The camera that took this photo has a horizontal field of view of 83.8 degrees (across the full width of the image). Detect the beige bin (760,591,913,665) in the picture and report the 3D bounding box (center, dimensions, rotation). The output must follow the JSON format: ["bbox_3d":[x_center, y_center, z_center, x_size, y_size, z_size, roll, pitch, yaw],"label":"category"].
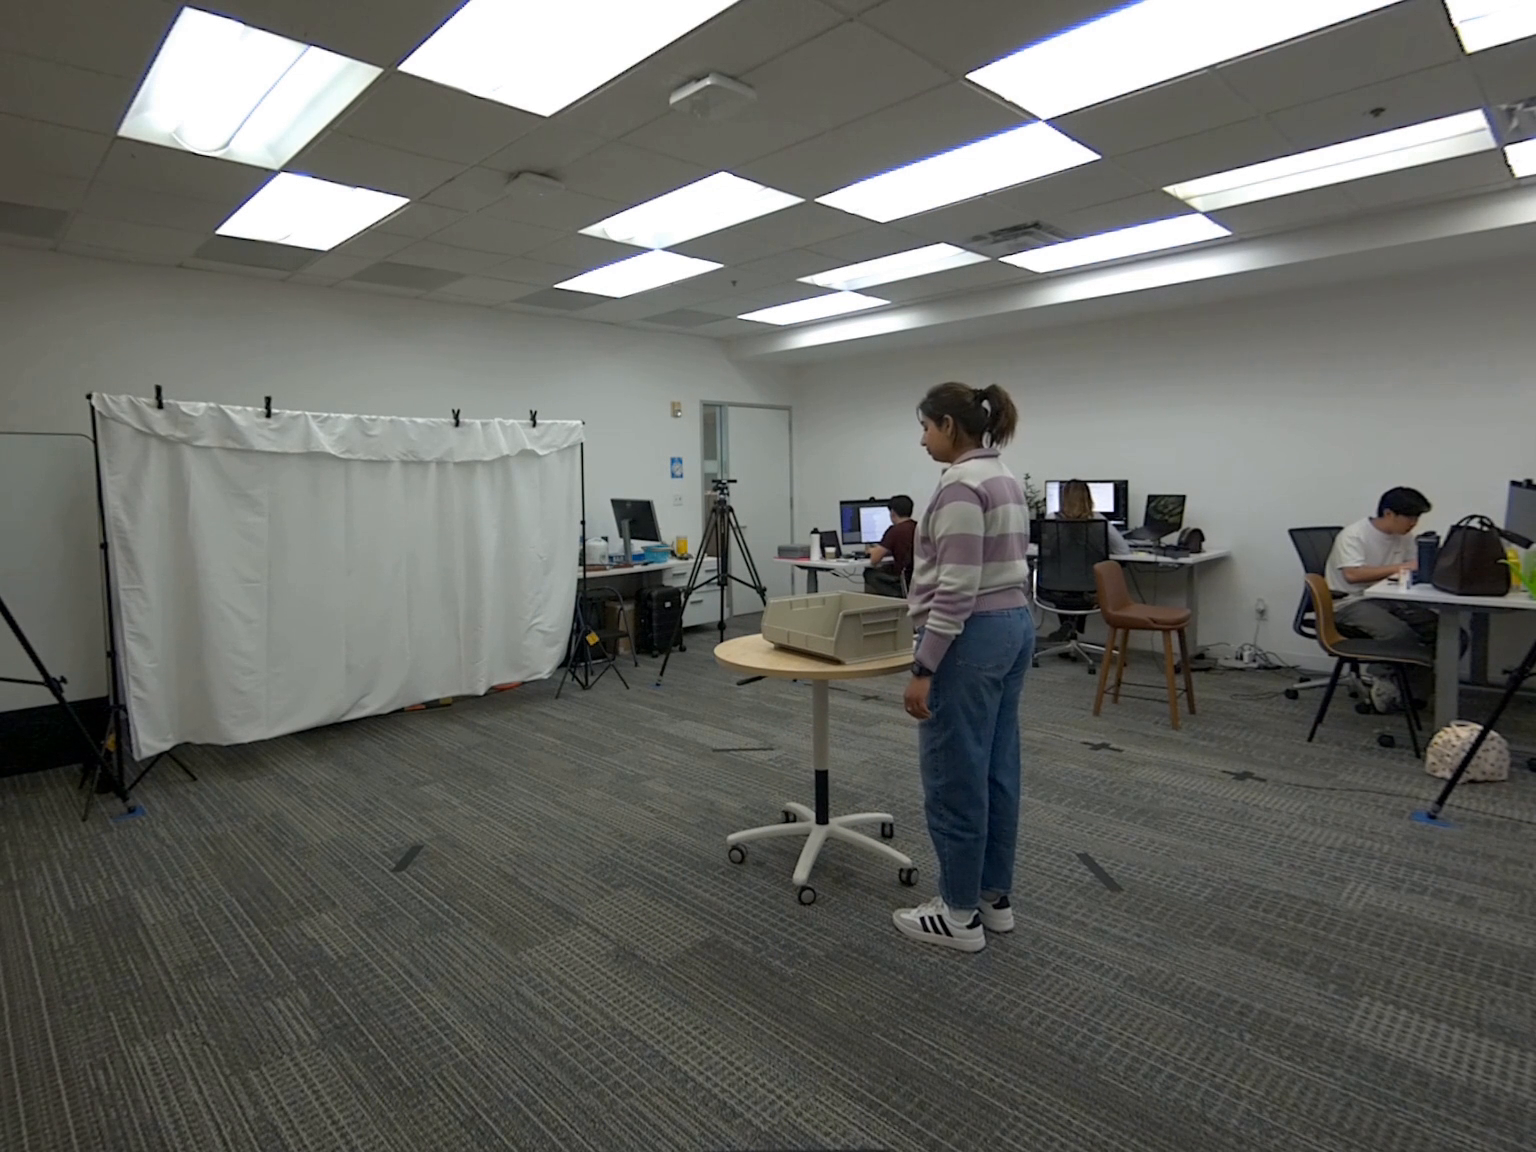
[{"bbox_3d":[0.250,0.178,3.024,0.368,0.188,0.434,-4,6,-33],"label":"beige bin"}]
